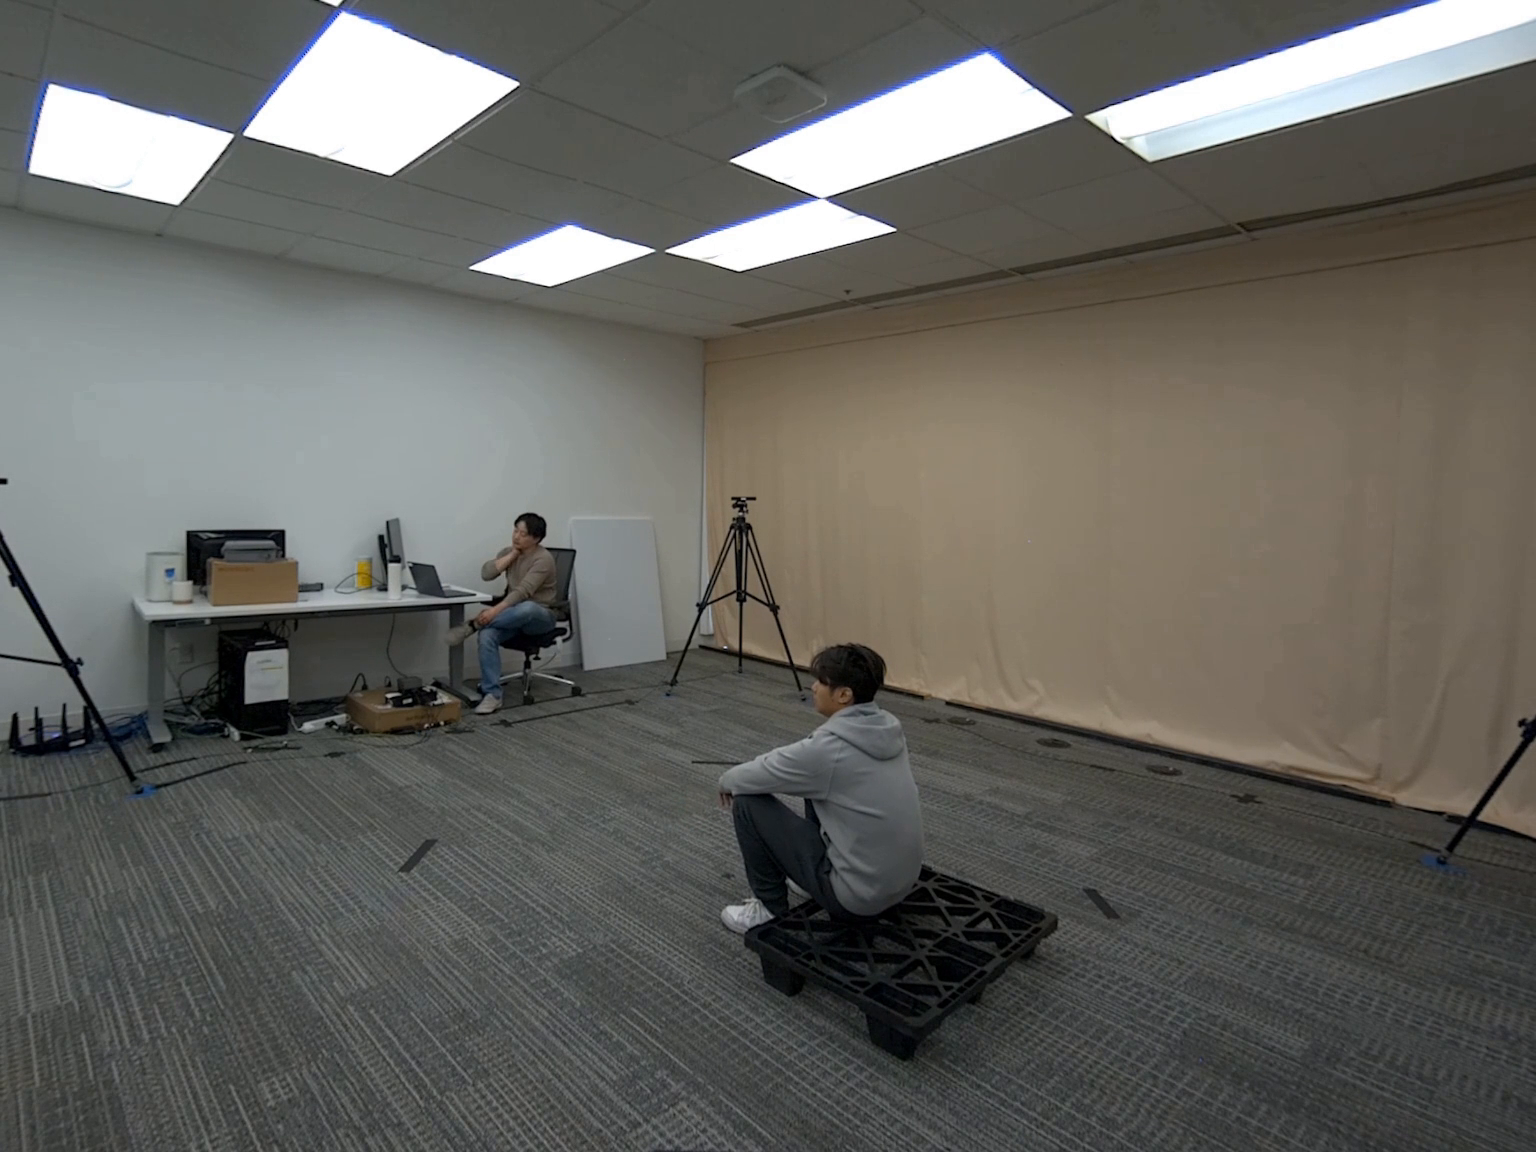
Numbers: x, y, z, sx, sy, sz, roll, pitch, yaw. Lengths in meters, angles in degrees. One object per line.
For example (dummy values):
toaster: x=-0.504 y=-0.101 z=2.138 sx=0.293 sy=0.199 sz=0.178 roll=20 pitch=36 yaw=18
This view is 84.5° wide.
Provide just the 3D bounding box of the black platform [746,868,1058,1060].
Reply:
black platform: x=0.400 y=1.108 z=2.517 sx=0.620 sy=0.143 sz=0.787 roll=6 pitch=7 yaw=43
